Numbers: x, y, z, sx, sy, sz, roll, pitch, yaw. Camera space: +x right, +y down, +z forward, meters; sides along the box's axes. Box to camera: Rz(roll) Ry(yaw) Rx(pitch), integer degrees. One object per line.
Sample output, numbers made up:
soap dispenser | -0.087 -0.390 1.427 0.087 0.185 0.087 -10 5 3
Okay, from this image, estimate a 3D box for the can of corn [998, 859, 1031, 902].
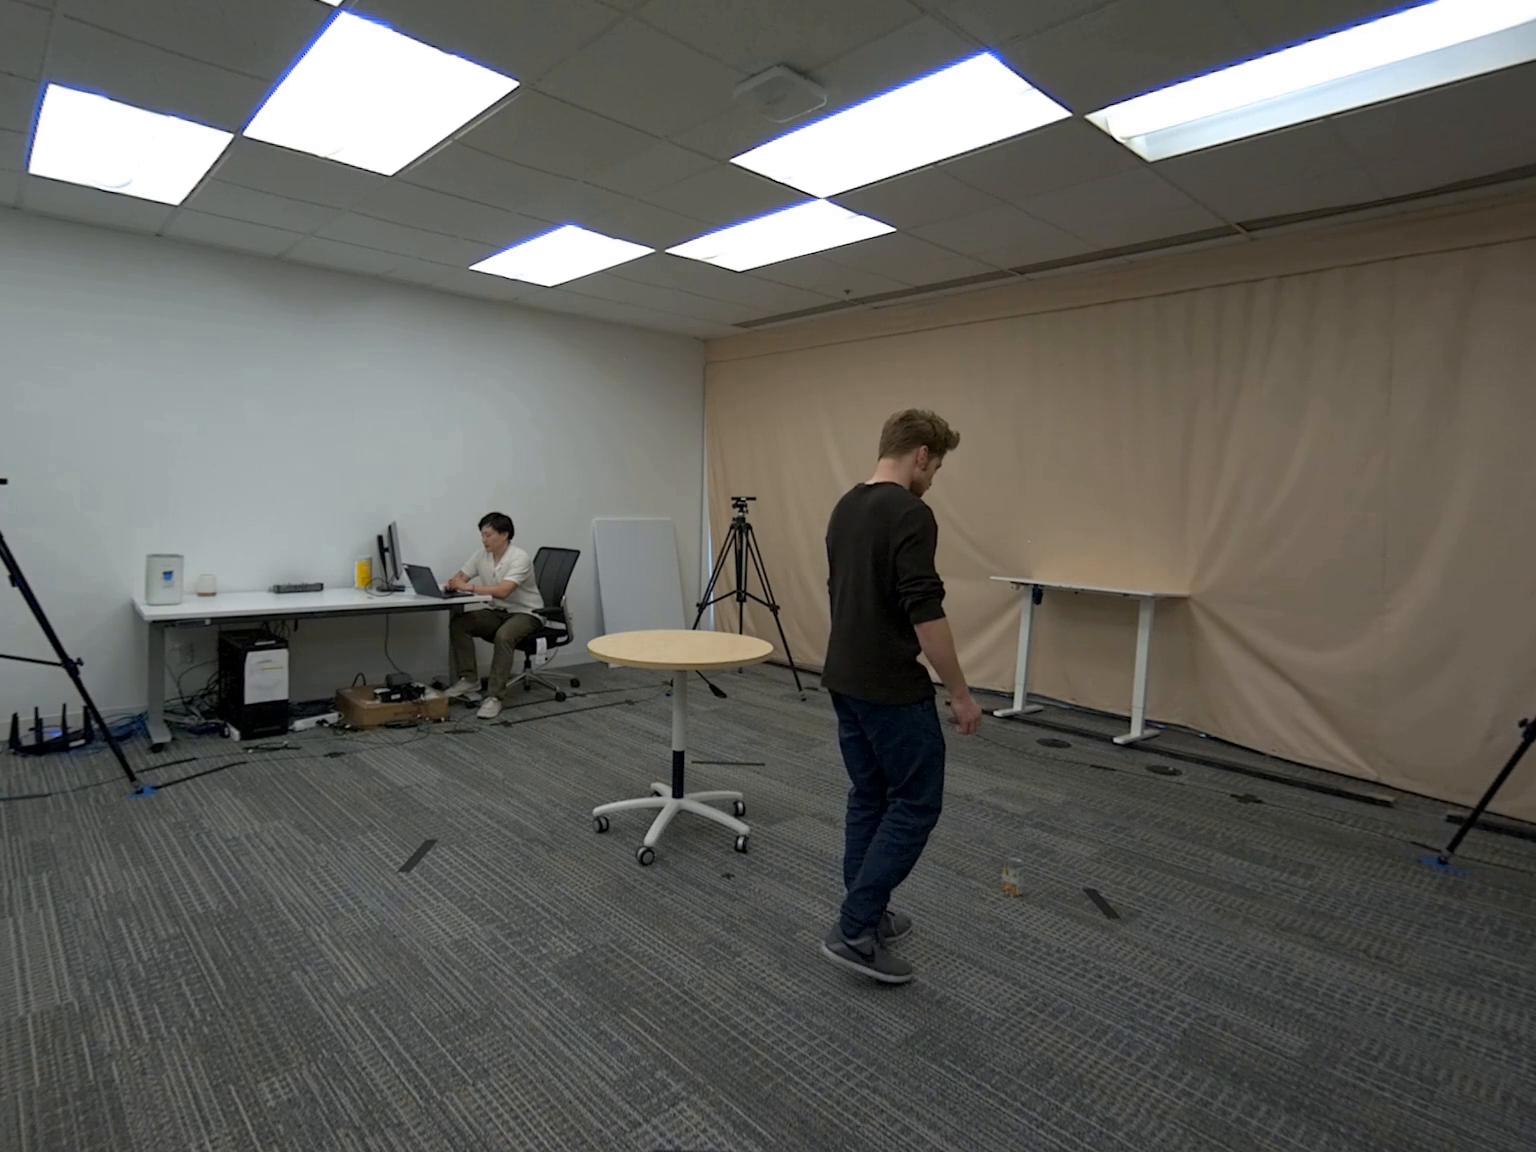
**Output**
can of corn | 0.881 1.087 3.032 0.074 0.111 0.074 8 5 -2
